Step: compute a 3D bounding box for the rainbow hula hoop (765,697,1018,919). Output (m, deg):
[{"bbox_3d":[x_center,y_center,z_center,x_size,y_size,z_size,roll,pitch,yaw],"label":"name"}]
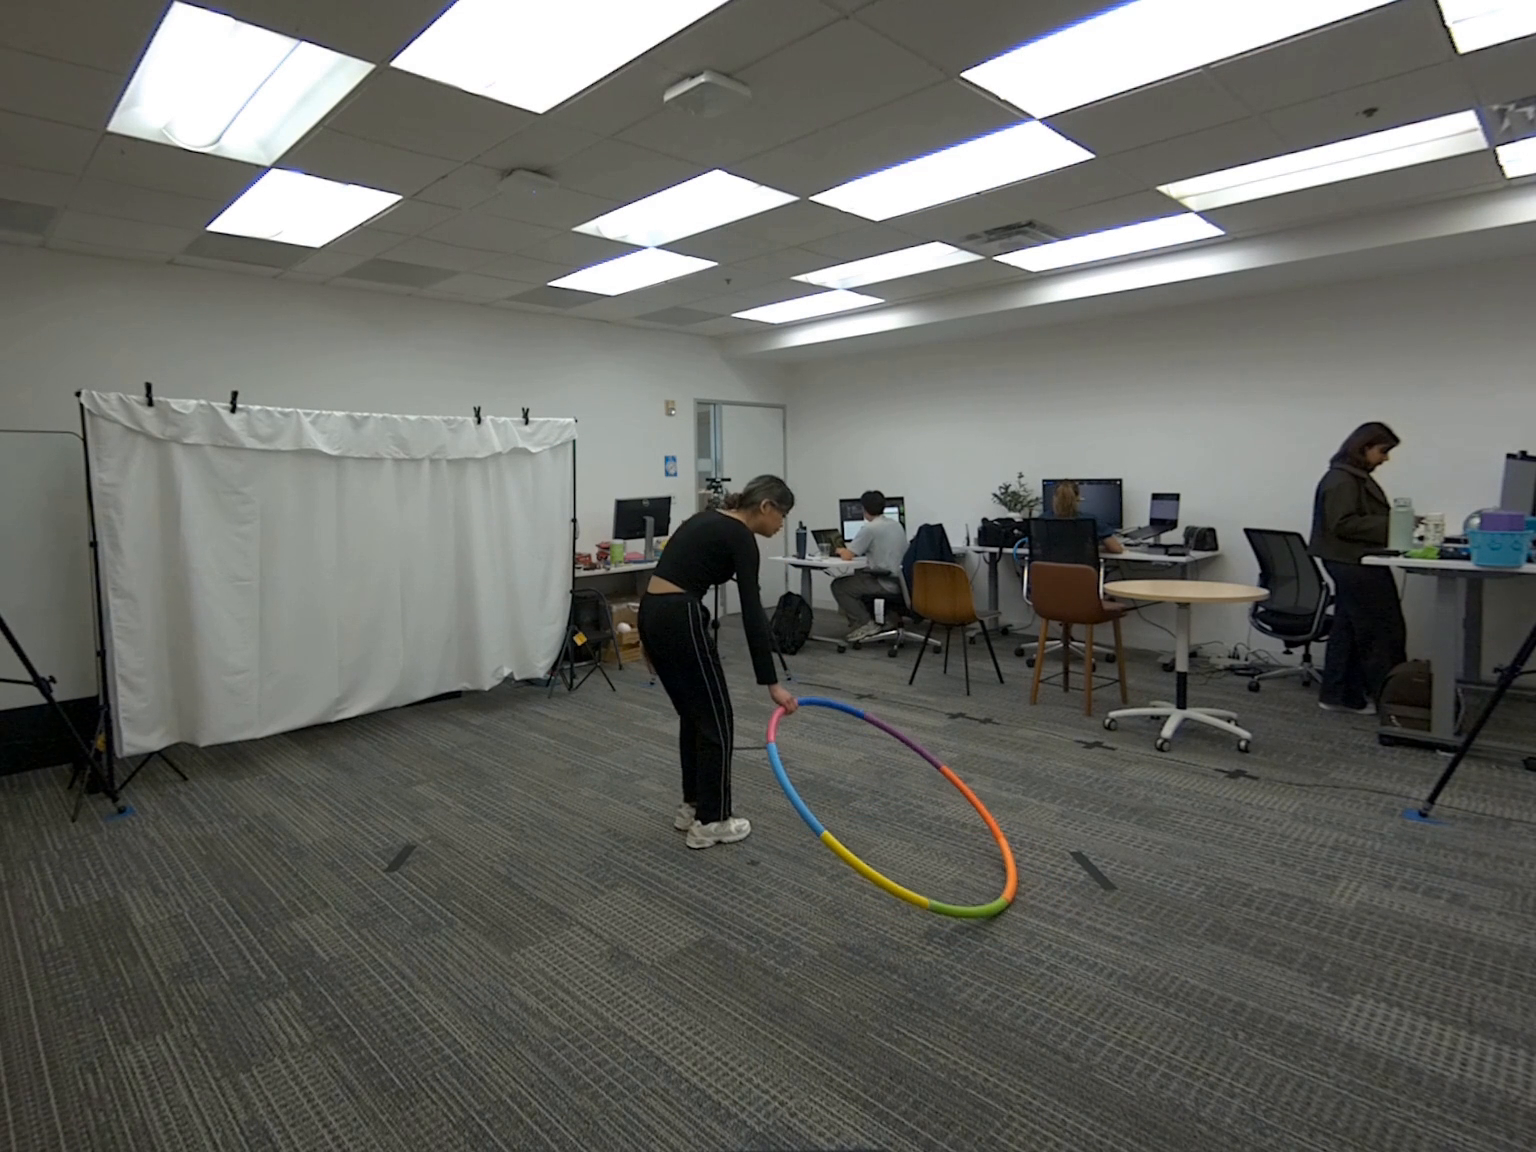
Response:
[{"bbox_3d":[0.425,0.760,2.988,0.965,0.035,0.999,25,21,-12],"label":"rainbow hula hoop"}]
